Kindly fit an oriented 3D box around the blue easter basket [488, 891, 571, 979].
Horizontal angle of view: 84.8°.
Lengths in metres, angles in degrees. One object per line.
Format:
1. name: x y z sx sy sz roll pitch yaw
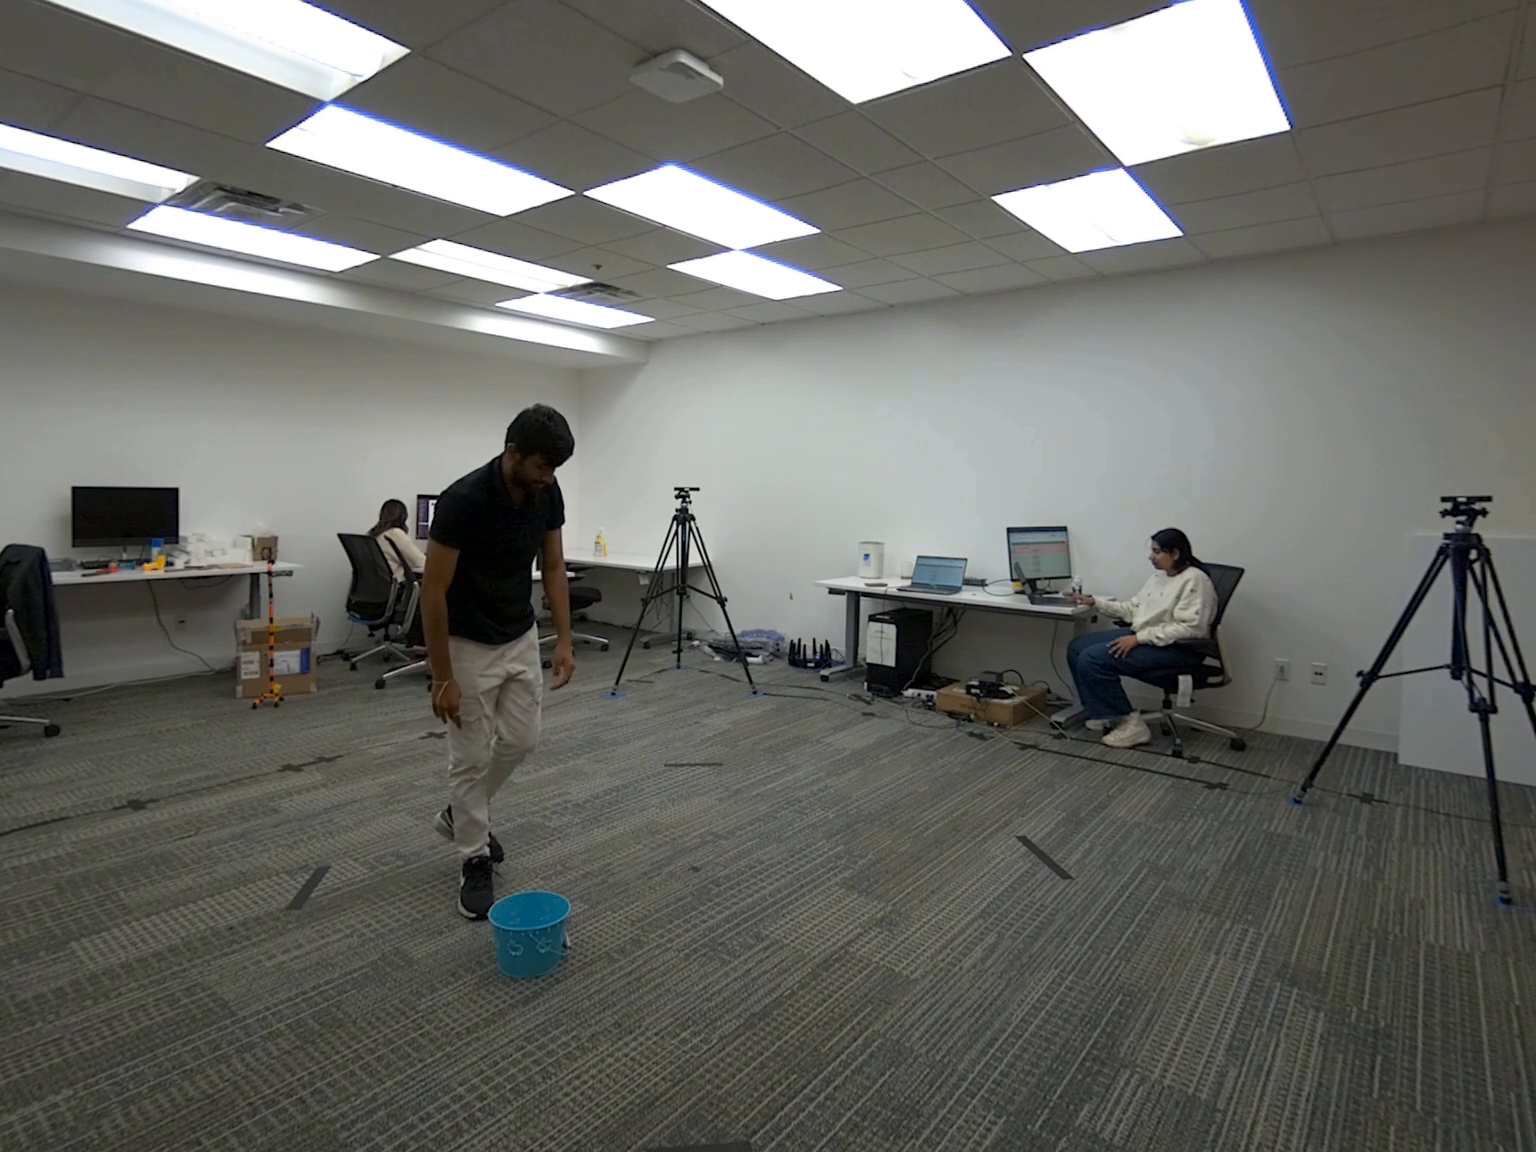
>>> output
1. blue easter basket: -0.698 1.044 2.478 0.243 0.155 0.245 0 5 -2
